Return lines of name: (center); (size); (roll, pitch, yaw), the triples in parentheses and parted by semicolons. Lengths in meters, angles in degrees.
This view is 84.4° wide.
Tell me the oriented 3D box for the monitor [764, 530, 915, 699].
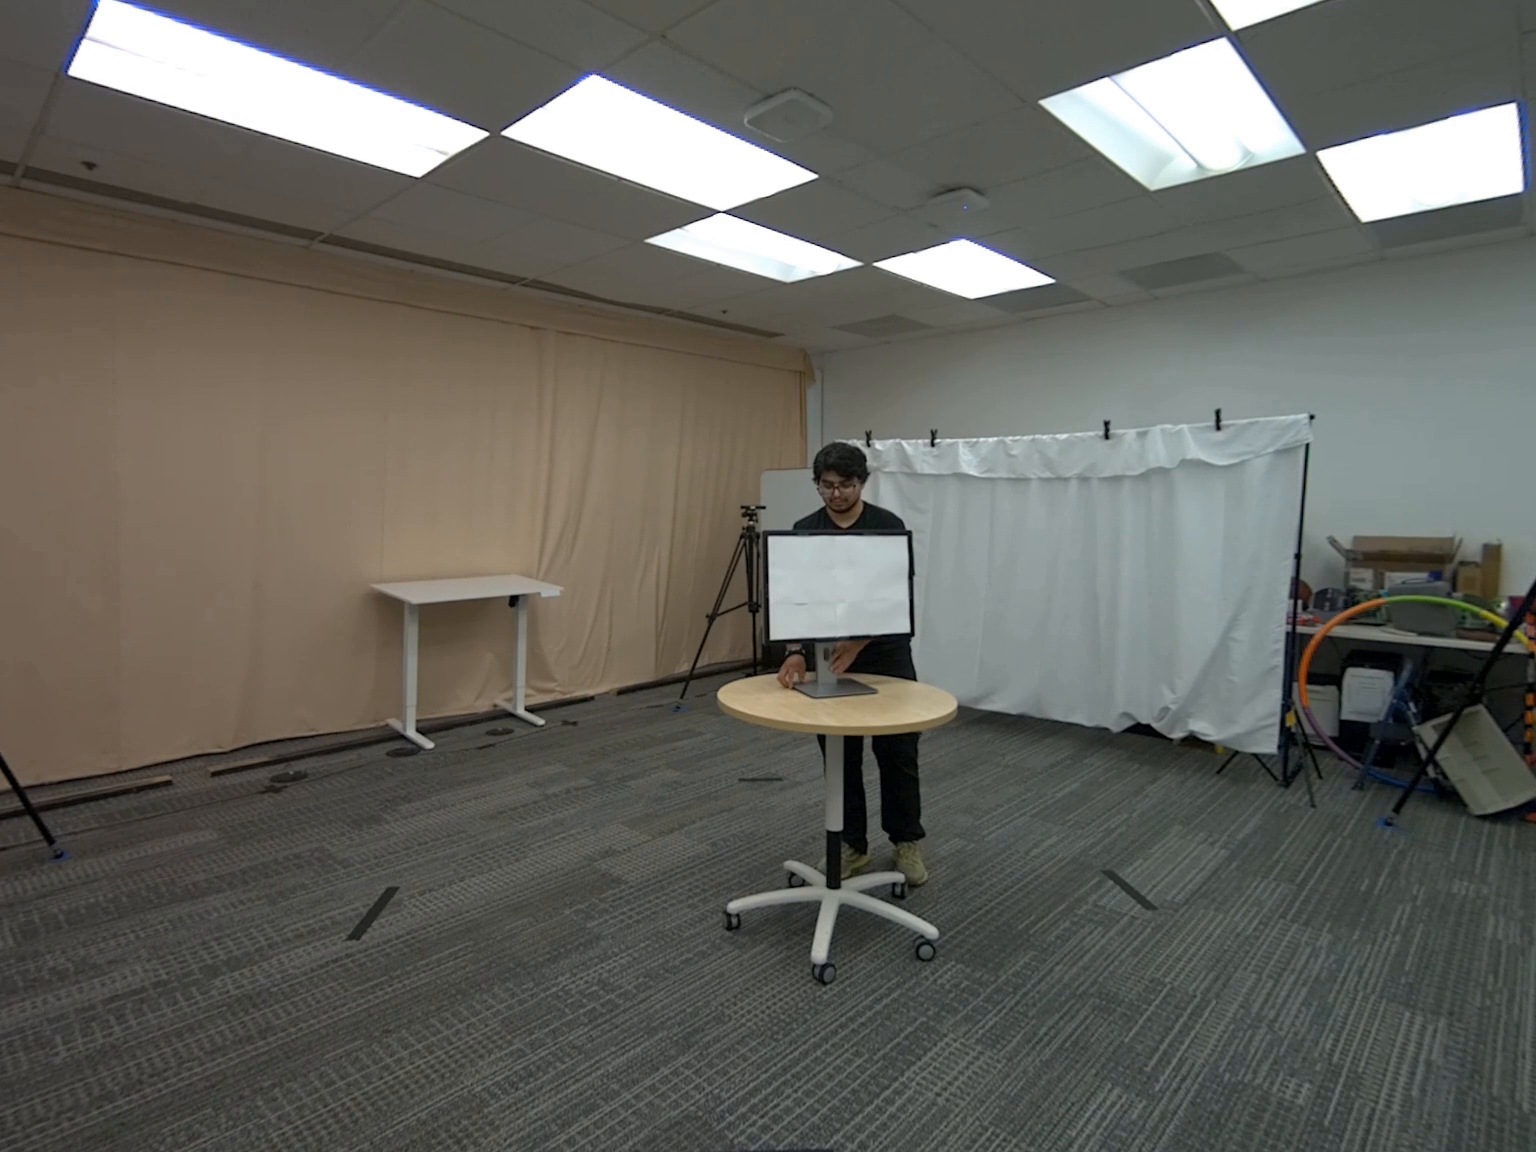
monitor: (0.213, 0.115, 2.824); (0.553, 0.553, 0.215); (-1, 2, -22)
